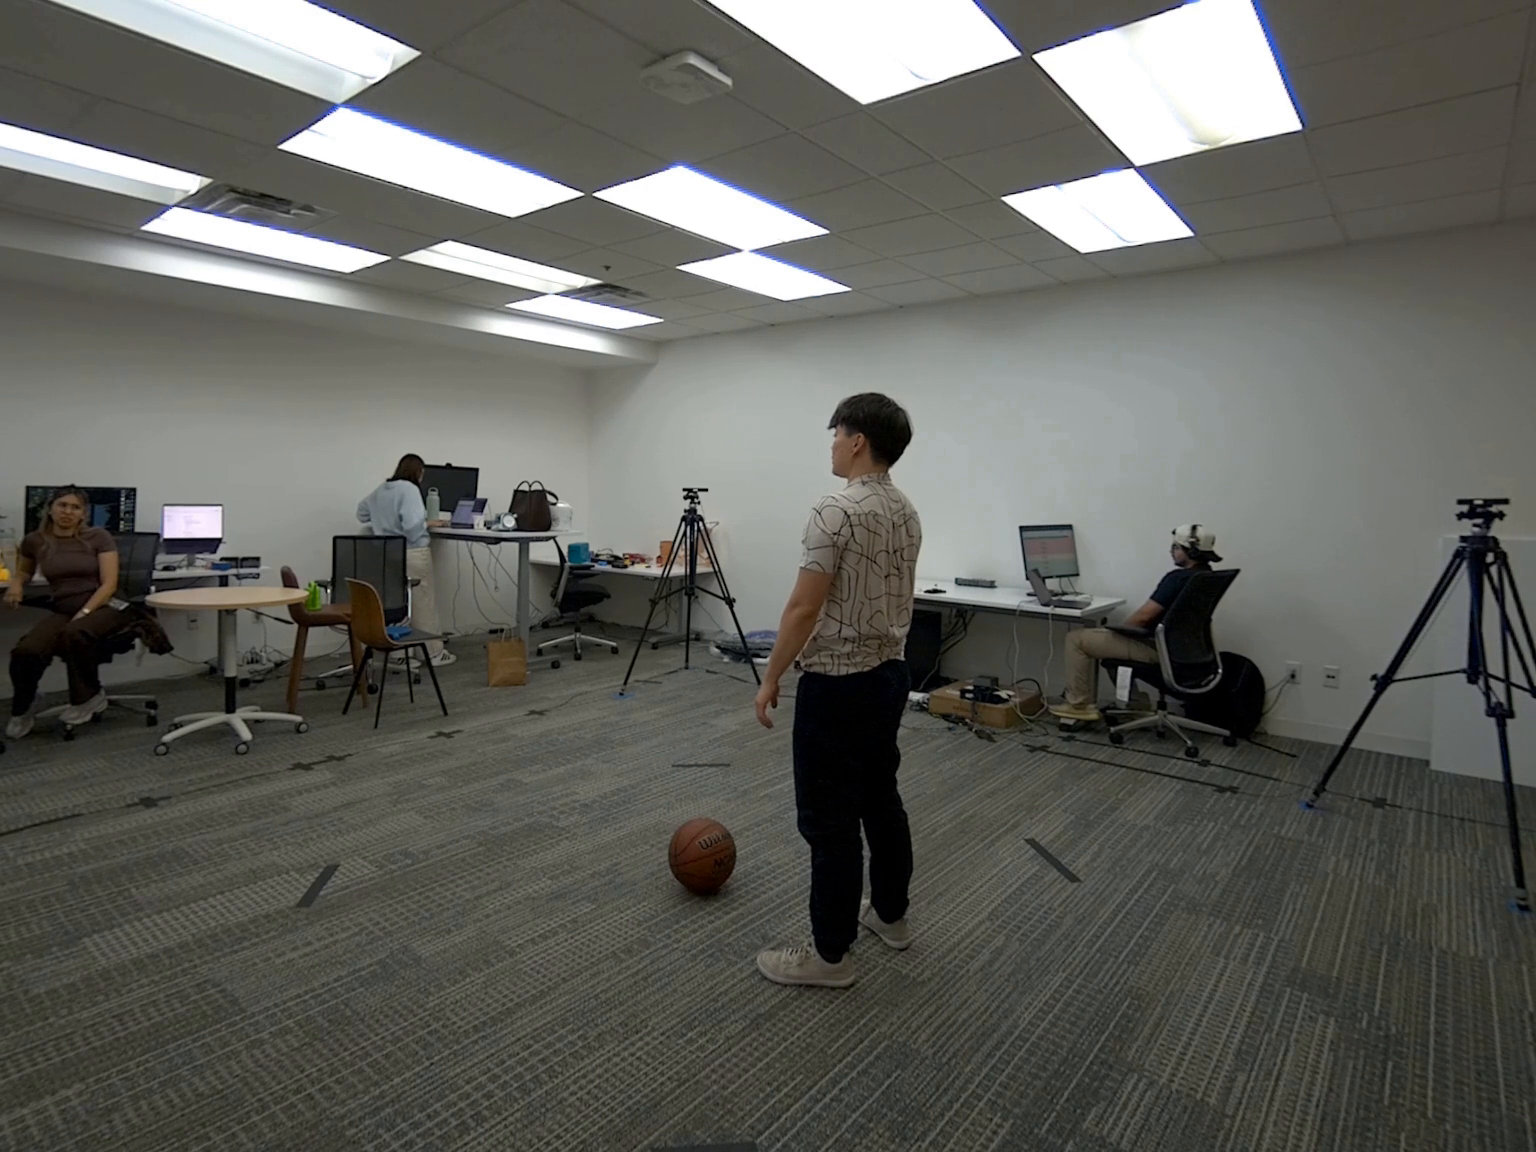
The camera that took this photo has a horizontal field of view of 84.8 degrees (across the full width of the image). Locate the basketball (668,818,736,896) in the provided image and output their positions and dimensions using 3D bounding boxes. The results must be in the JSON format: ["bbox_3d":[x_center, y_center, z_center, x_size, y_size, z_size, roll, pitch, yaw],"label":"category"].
[{"bbox_3d":[-0.235,0.961,2.957,0.235,0.235,0.237,1,4,-2],"label":"basketball"}]
